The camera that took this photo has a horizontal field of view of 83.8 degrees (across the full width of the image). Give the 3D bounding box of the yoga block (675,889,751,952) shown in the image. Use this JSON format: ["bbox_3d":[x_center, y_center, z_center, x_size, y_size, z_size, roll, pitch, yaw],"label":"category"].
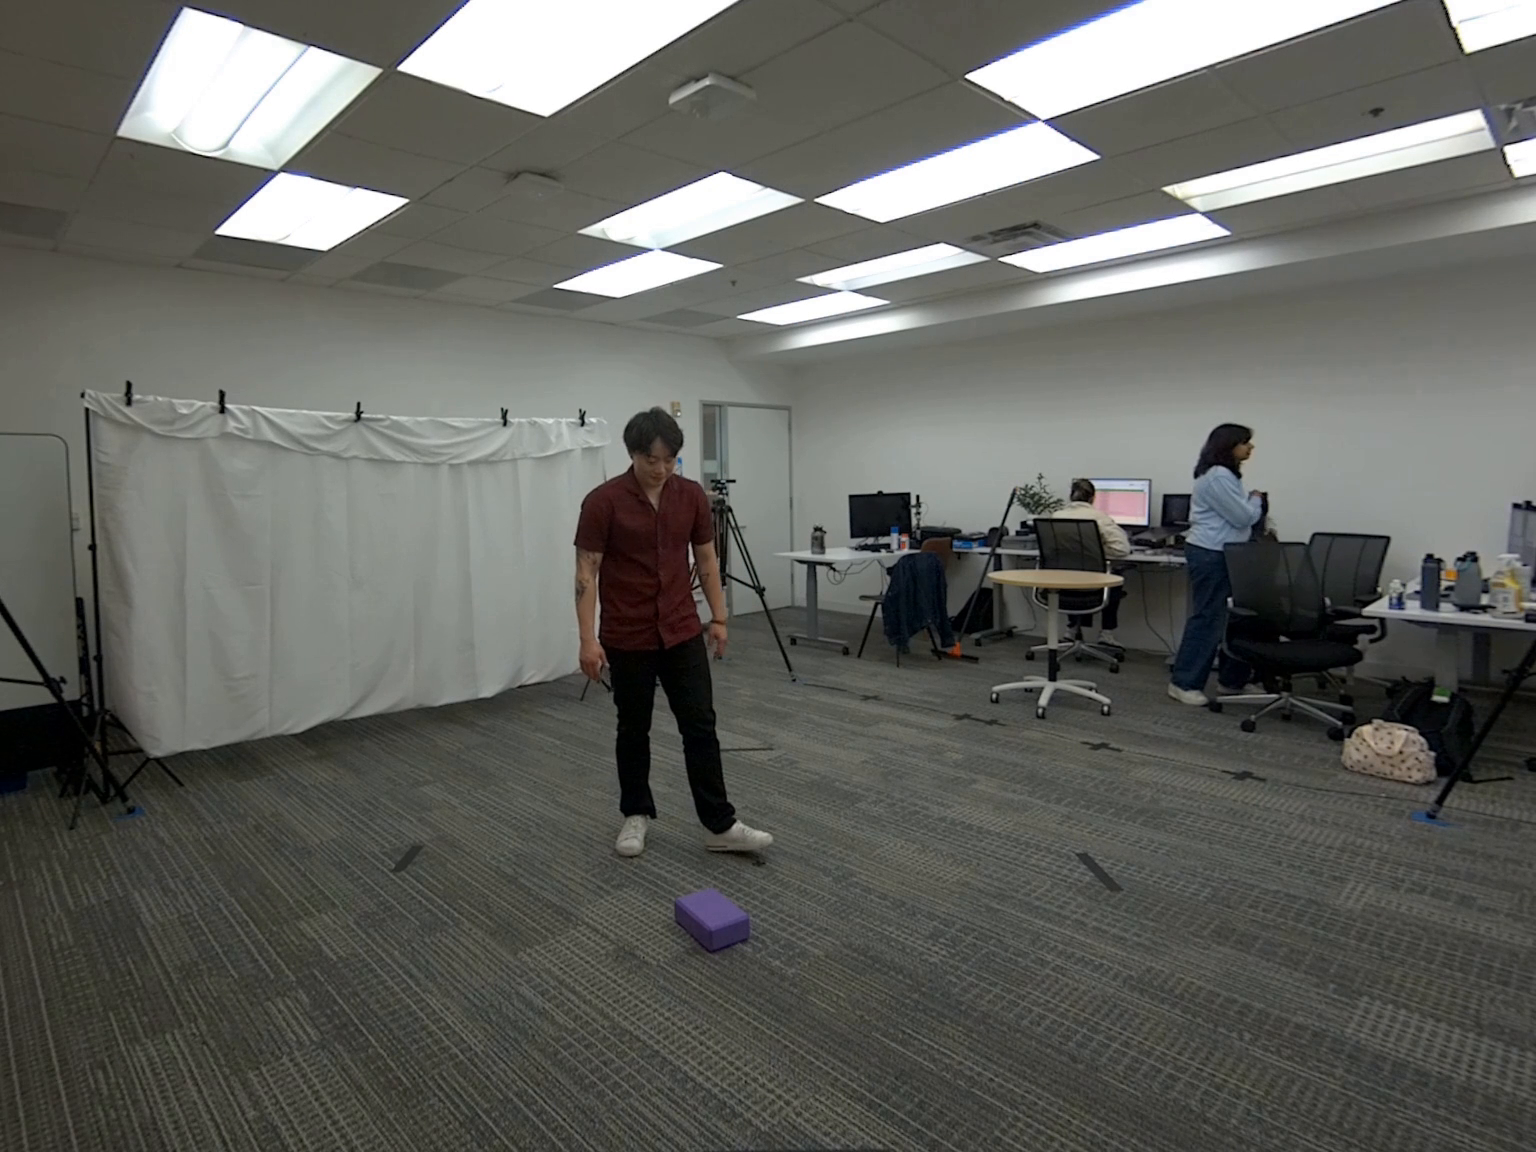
[{"bbox_3d":[-0.174,1.066,2.651,0.145,0.076,0.236,-5,8,-33],"label":"yoga block"}]
